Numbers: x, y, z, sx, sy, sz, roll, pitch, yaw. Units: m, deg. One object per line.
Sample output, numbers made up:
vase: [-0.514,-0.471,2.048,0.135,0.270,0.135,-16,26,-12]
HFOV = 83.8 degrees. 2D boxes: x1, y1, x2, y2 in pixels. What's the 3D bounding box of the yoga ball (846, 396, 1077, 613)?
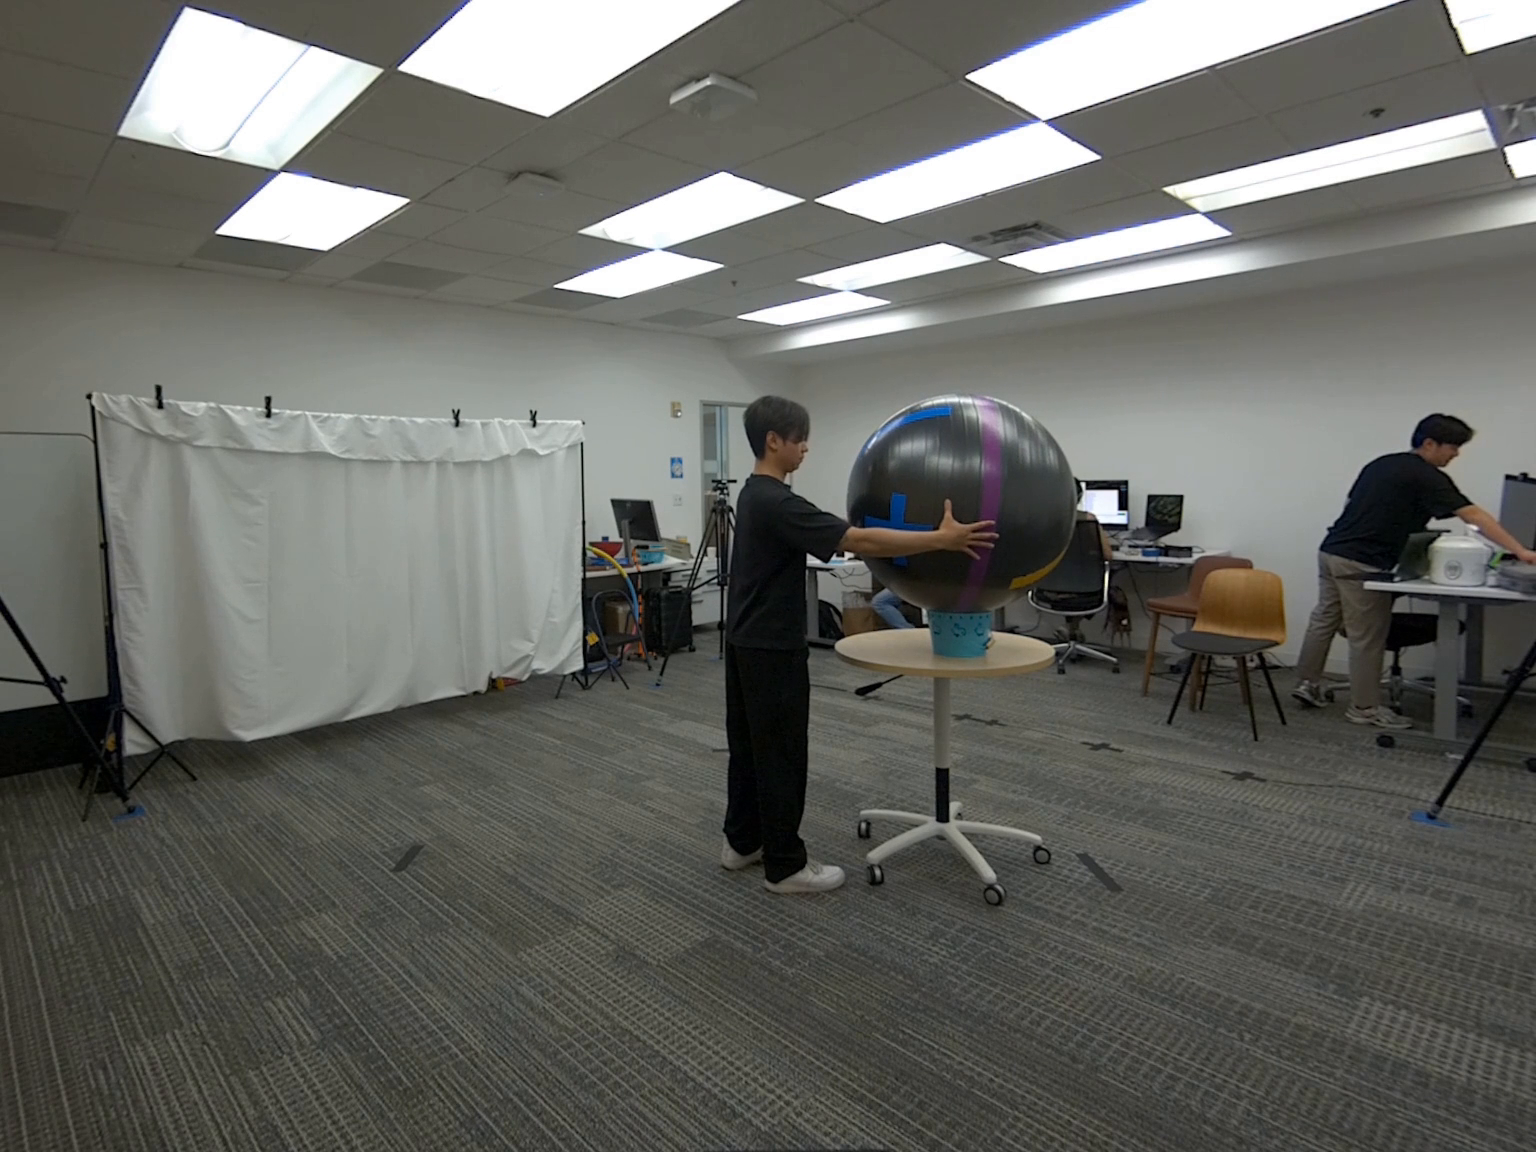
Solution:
yoga ball: [0.666,-0.245,2.958,0.757,0.755,0.762,-1,5,-2]
